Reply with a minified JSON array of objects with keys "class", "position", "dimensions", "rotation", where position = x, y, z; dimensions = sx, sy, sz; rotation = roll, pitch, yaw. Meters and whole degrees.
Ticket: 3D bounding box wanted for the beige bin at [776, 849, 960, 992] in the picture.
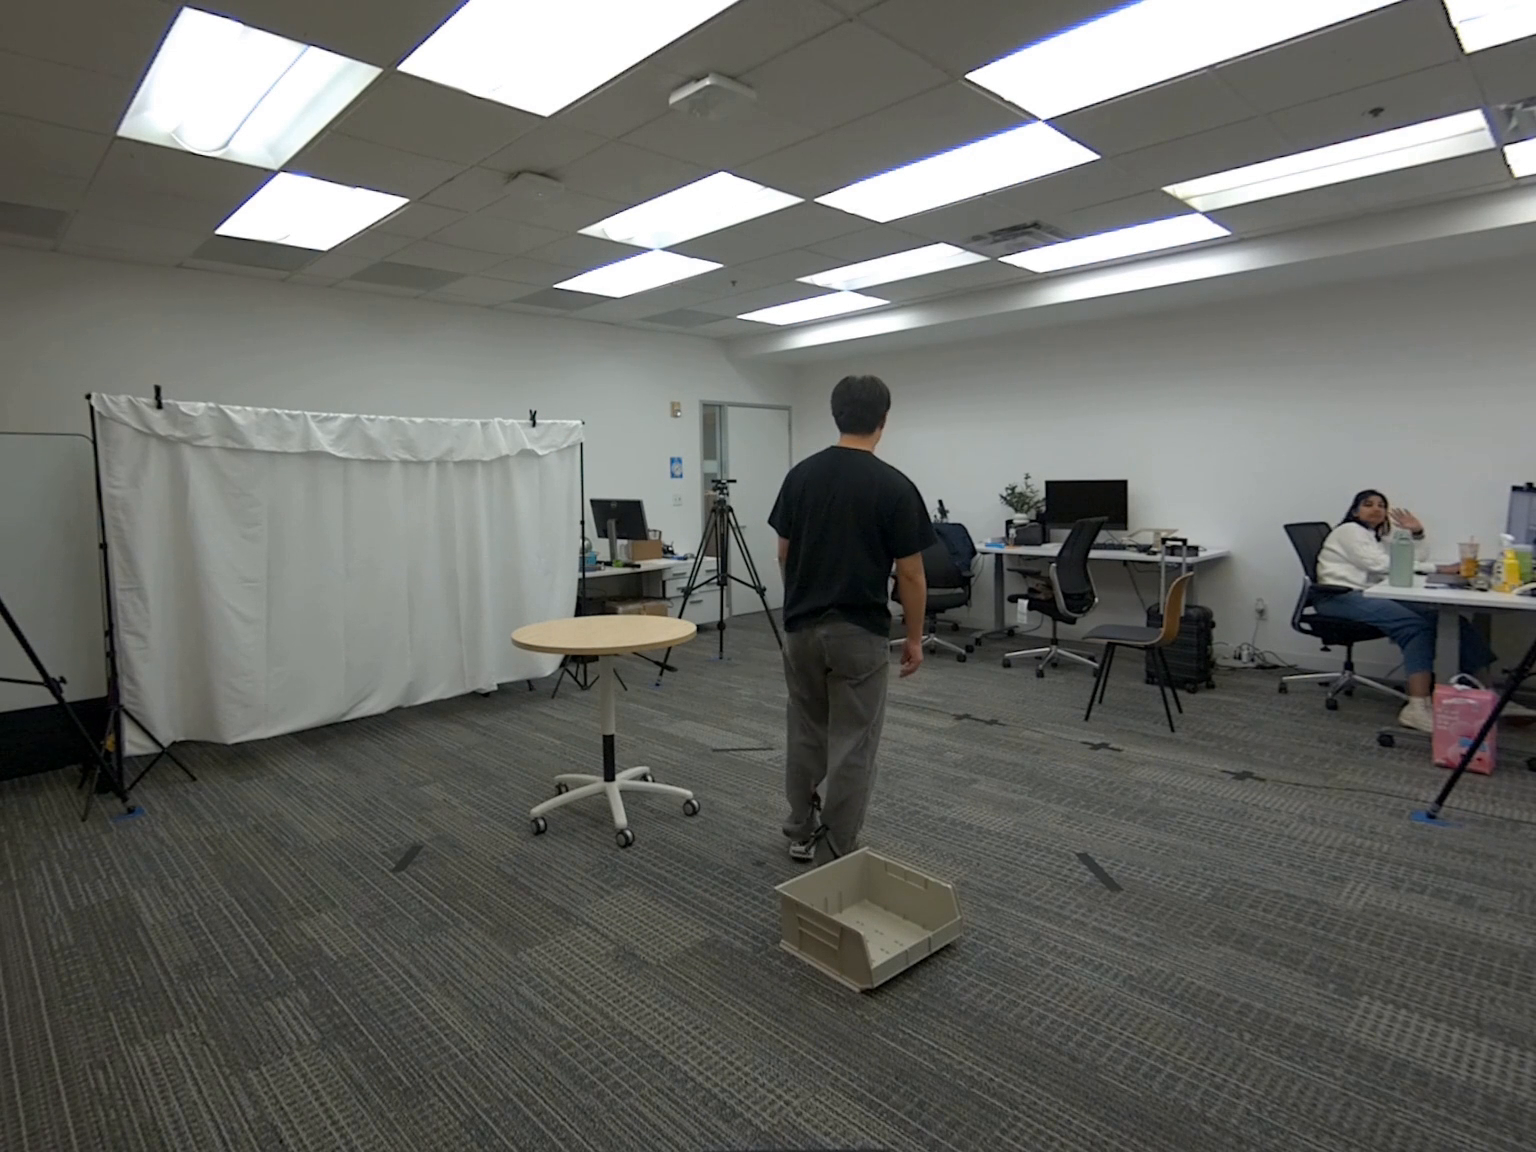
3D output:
[{"class":"beige bin","position":[0.304,1.018,2.543],"dimensions":[0.411,0.188,0.389],"rotation":[-7,7,-41]}]
